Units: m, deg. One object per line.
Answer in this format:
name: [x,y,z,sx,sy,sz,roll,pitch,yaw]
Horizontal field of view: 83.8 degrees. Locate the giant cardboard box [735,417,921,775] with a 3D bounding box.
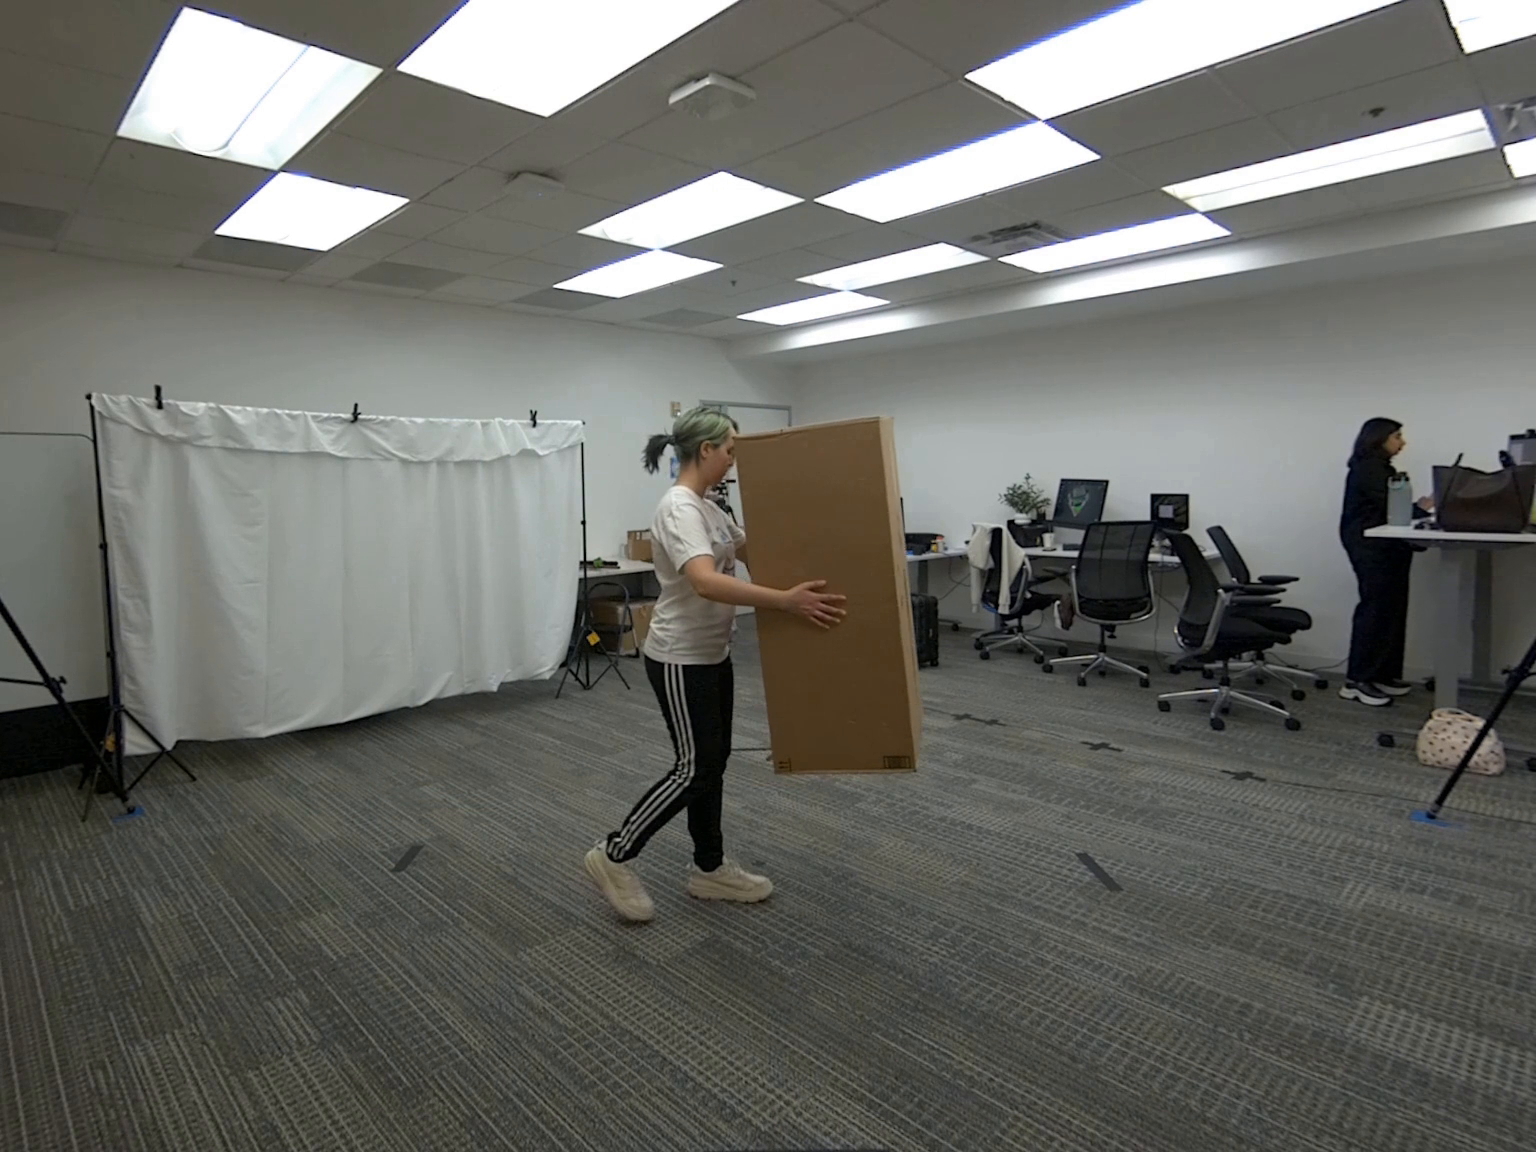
giant cardboard box: [0.213,0.034,2.722,0.452,1.021,0.581,-5,6,12]
